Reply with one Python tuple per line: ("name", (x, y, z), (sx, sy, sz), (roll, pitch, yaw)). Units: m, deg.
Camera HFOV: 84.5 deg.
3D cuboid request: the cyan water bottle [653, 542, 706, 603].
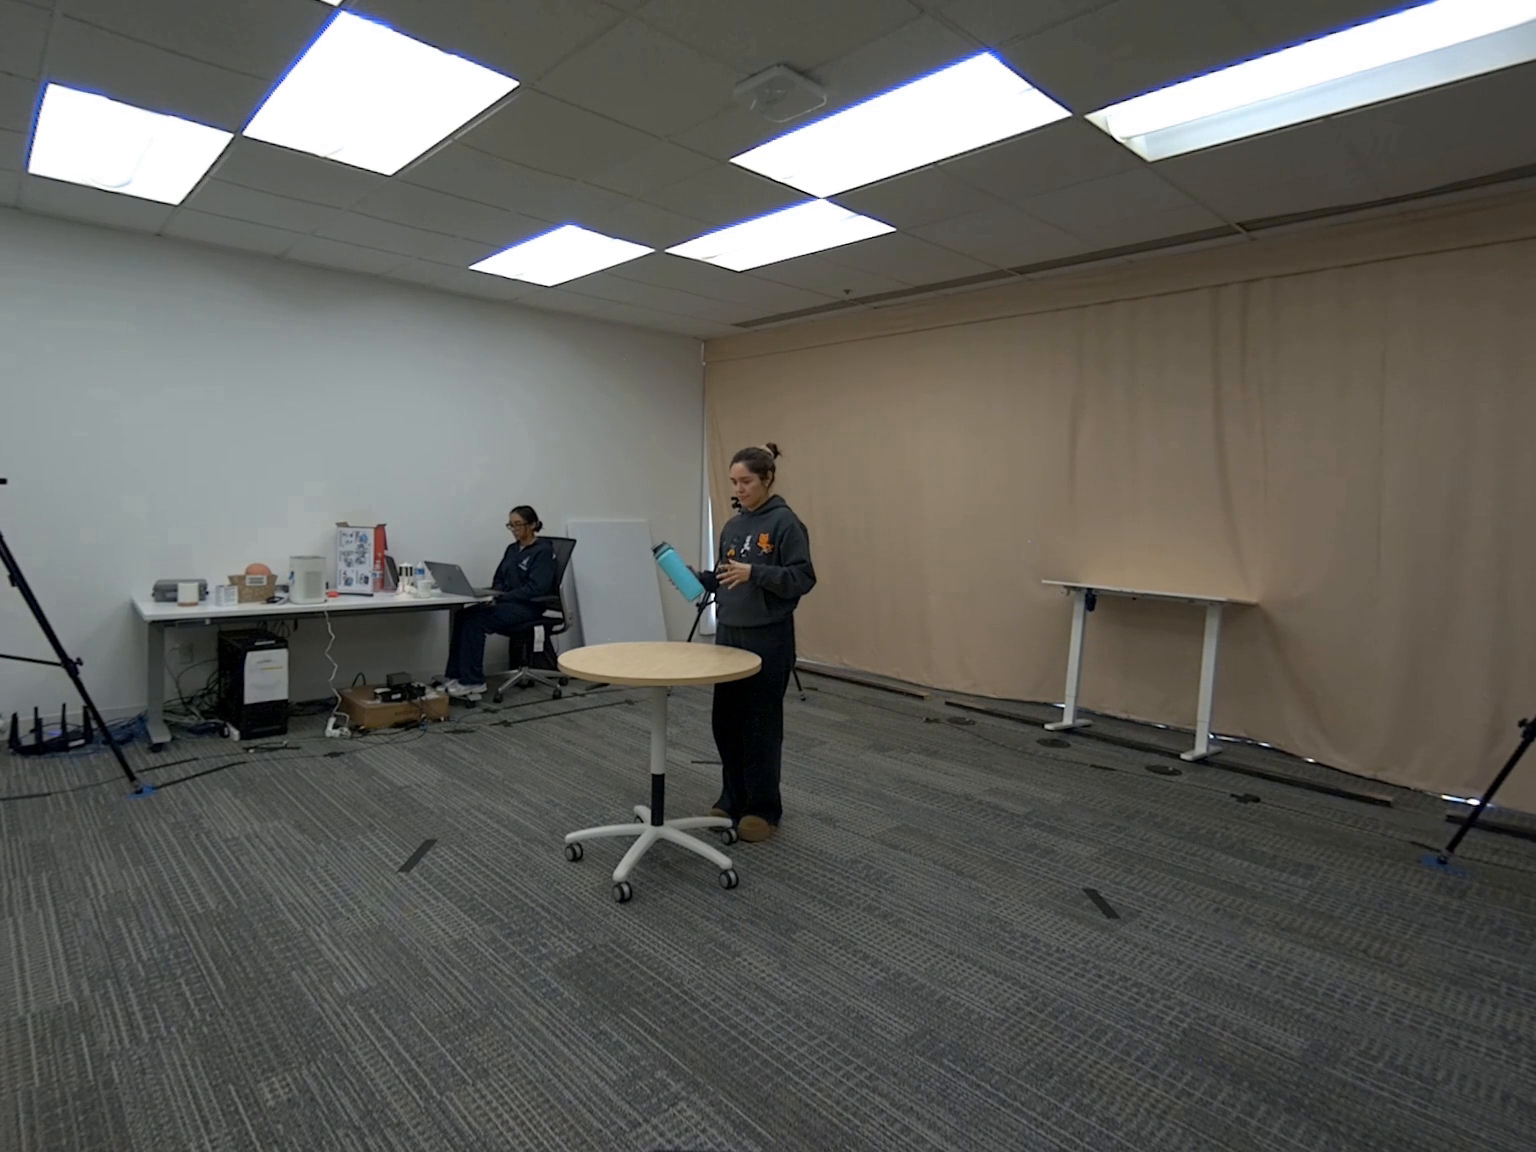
("cyan water bottle", (-0.385, -0.046, 3.537), (0.092, 0.284, 0.092), (-39, -4, -3))
